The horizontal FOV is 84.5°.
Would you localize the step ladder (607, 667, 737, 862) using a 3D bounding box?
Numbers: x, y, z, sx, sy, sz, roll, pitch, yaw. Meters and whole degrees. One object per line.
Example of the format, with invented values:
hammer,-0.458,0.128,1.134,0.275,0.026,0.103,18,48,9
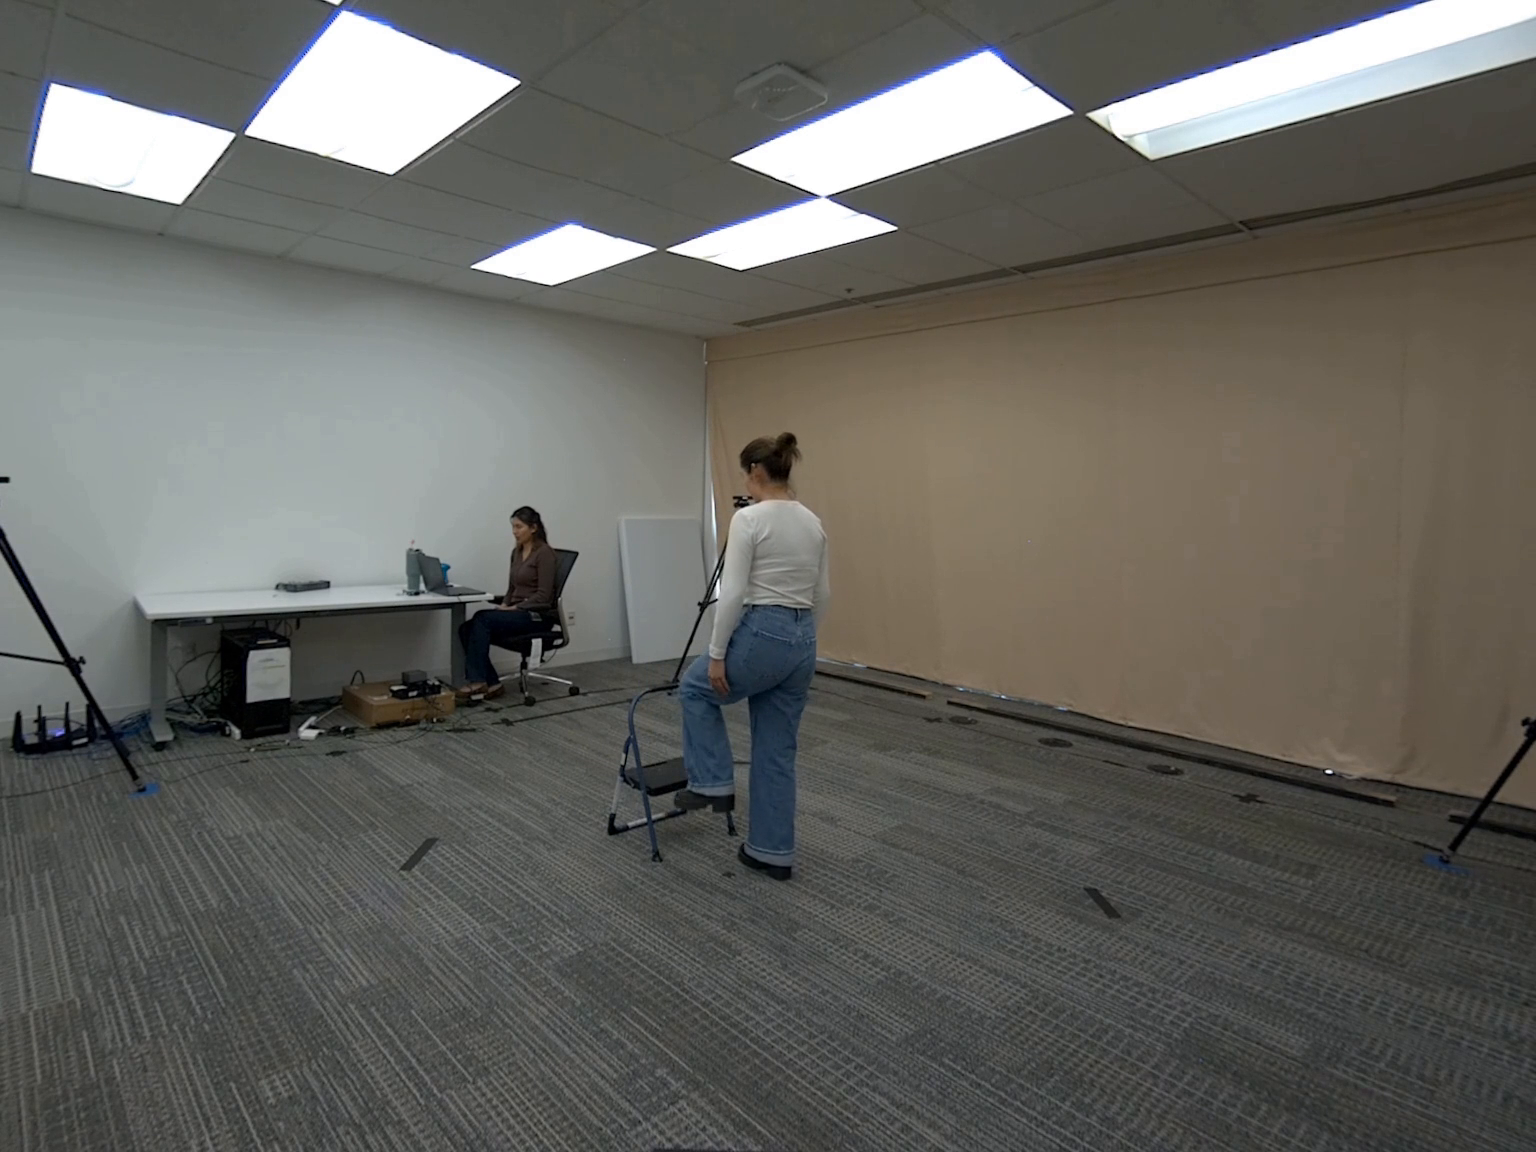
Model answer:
step ladder,-0.388,0.763,3.447,0.421,0.604,0.358,-2,6,-45
